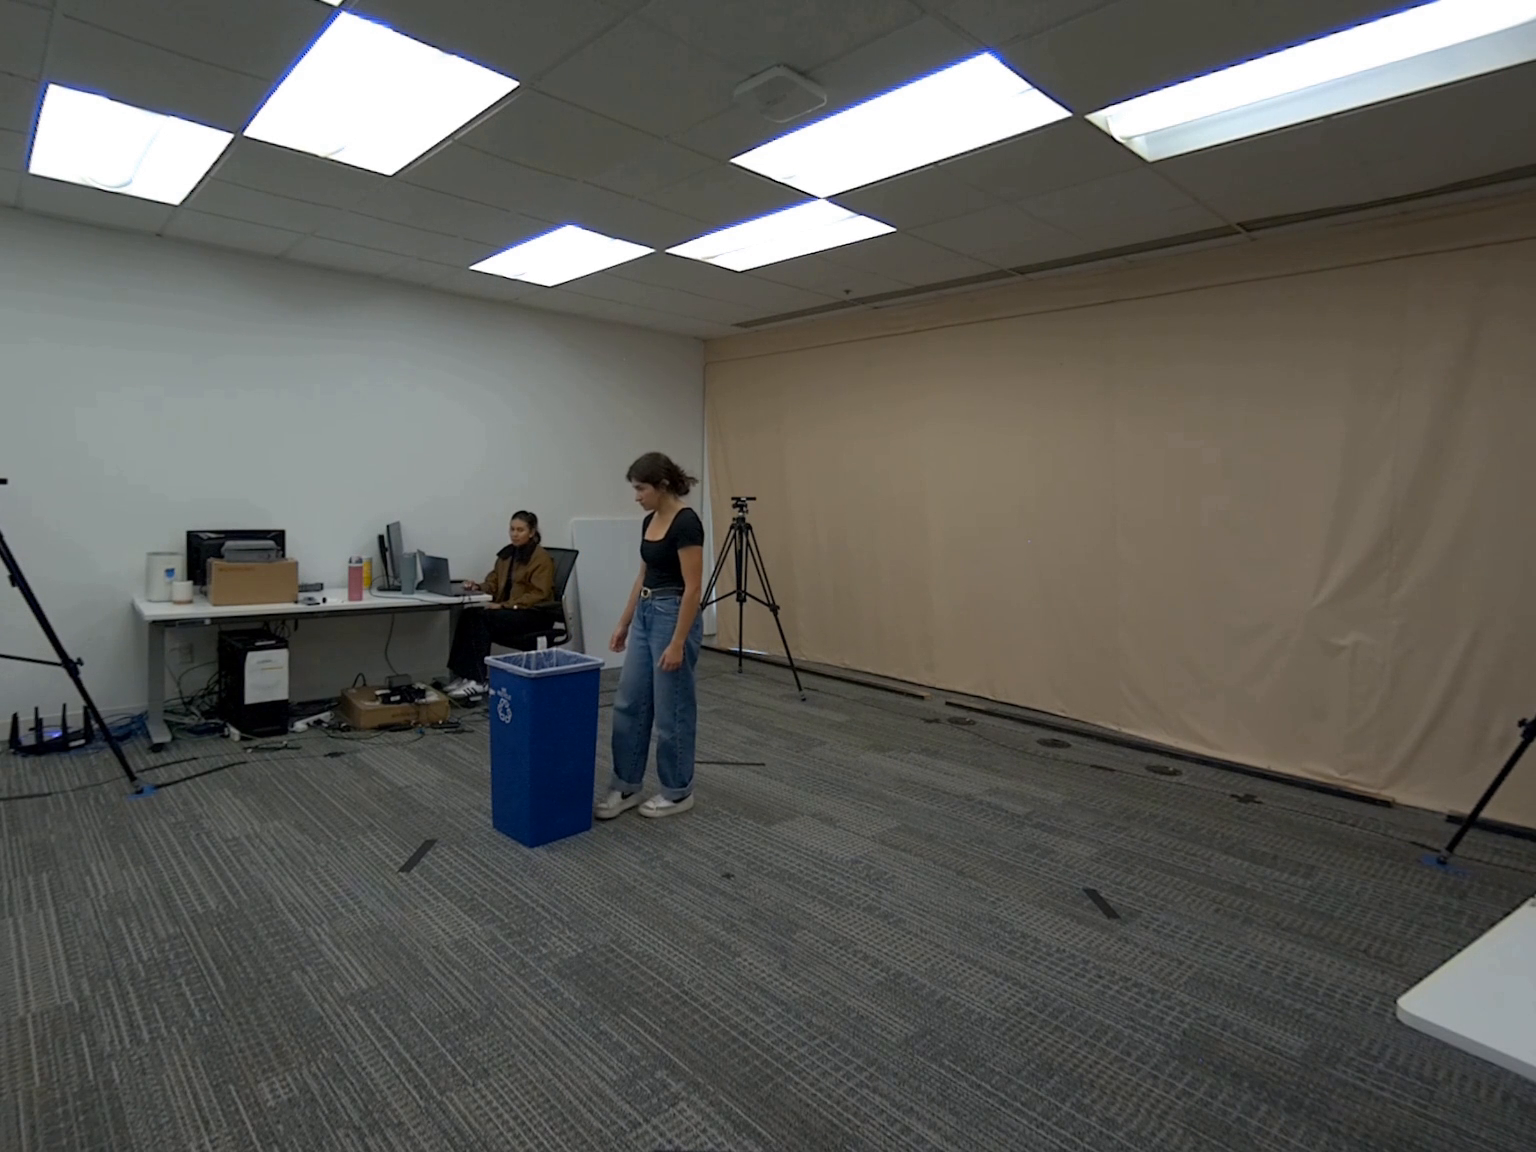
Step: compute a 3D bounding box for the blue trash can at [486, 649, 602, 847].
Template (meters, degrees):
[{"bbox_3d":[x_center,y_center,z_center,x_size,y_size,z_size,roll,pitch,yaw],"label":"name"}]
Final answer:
[{"bbox_3d":[-0.935,0.697,3.488,0.383,0.712,0.369,5,5,43],"label":"blue trash can"}]
